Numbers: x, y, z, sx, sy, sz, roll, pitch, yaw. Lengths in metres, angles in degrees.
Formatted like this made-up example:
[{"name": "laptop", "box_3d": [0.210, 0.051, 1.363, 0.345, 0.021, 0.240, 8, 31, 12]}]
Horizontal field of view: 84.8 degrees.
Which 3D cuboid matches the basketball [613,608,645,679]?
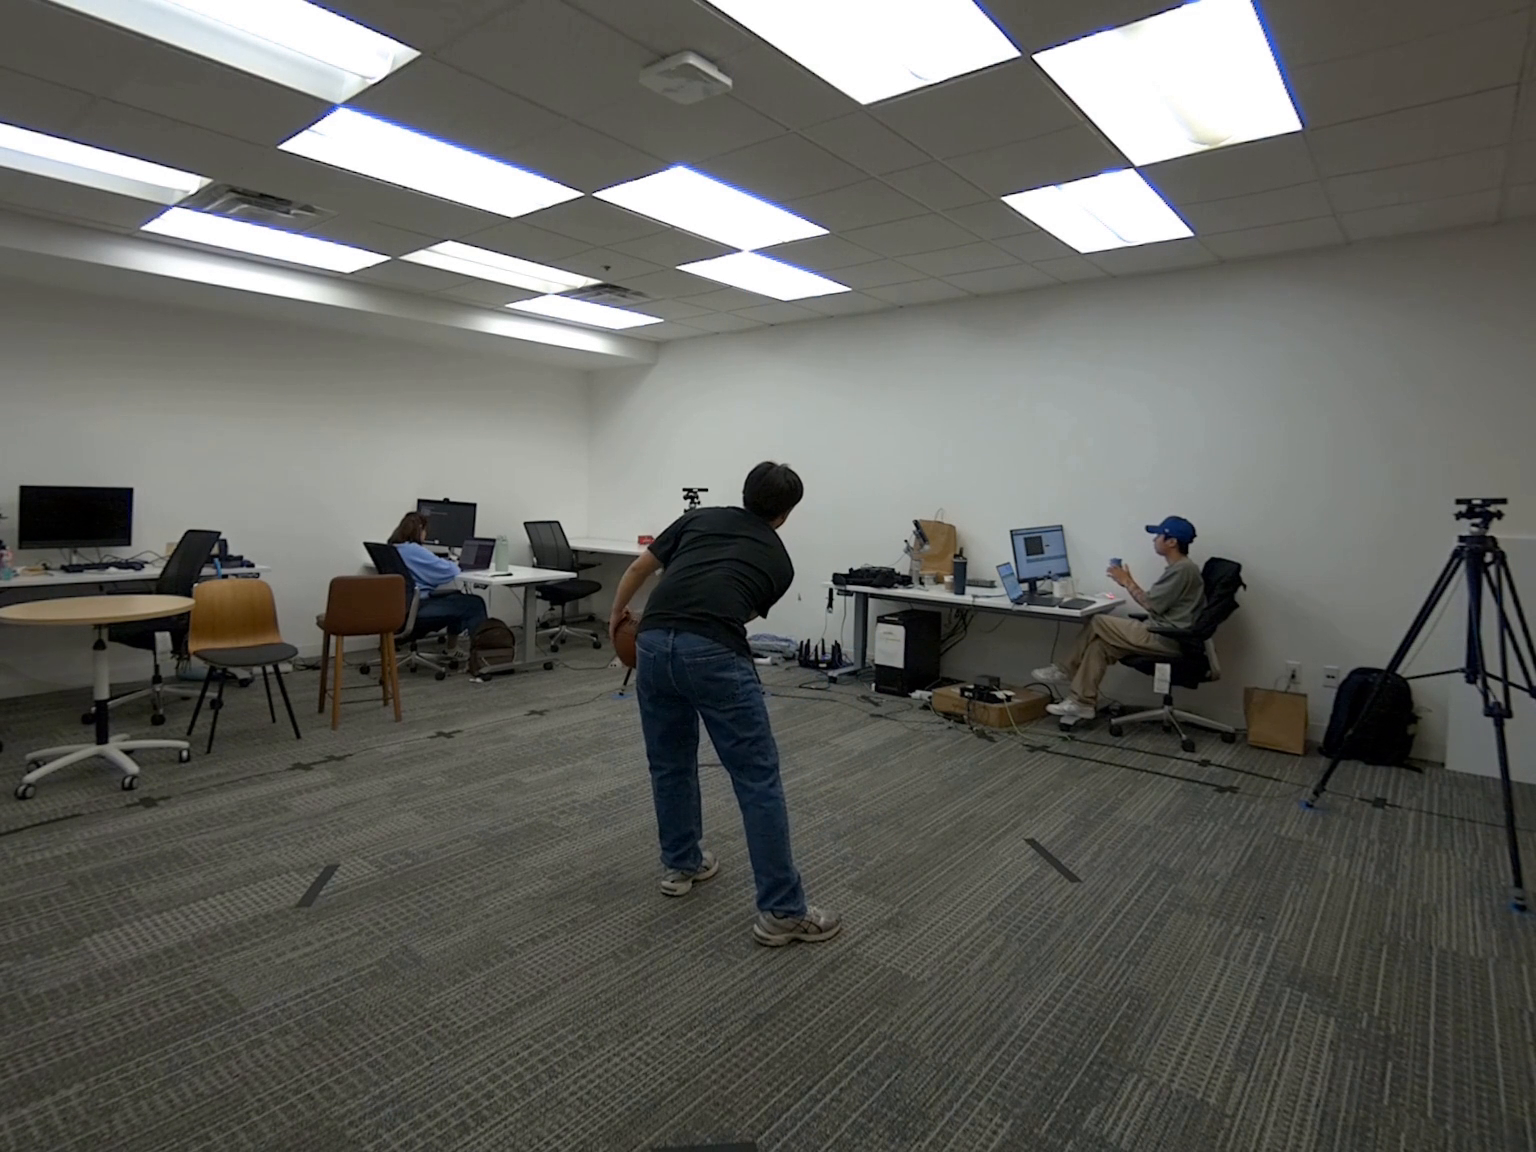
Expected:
[{"name": "basketball", "box_3d": [-0.479, 0.264, 3.327, 0.235, 0.235, 0.237, 1, 4, -2]}]
